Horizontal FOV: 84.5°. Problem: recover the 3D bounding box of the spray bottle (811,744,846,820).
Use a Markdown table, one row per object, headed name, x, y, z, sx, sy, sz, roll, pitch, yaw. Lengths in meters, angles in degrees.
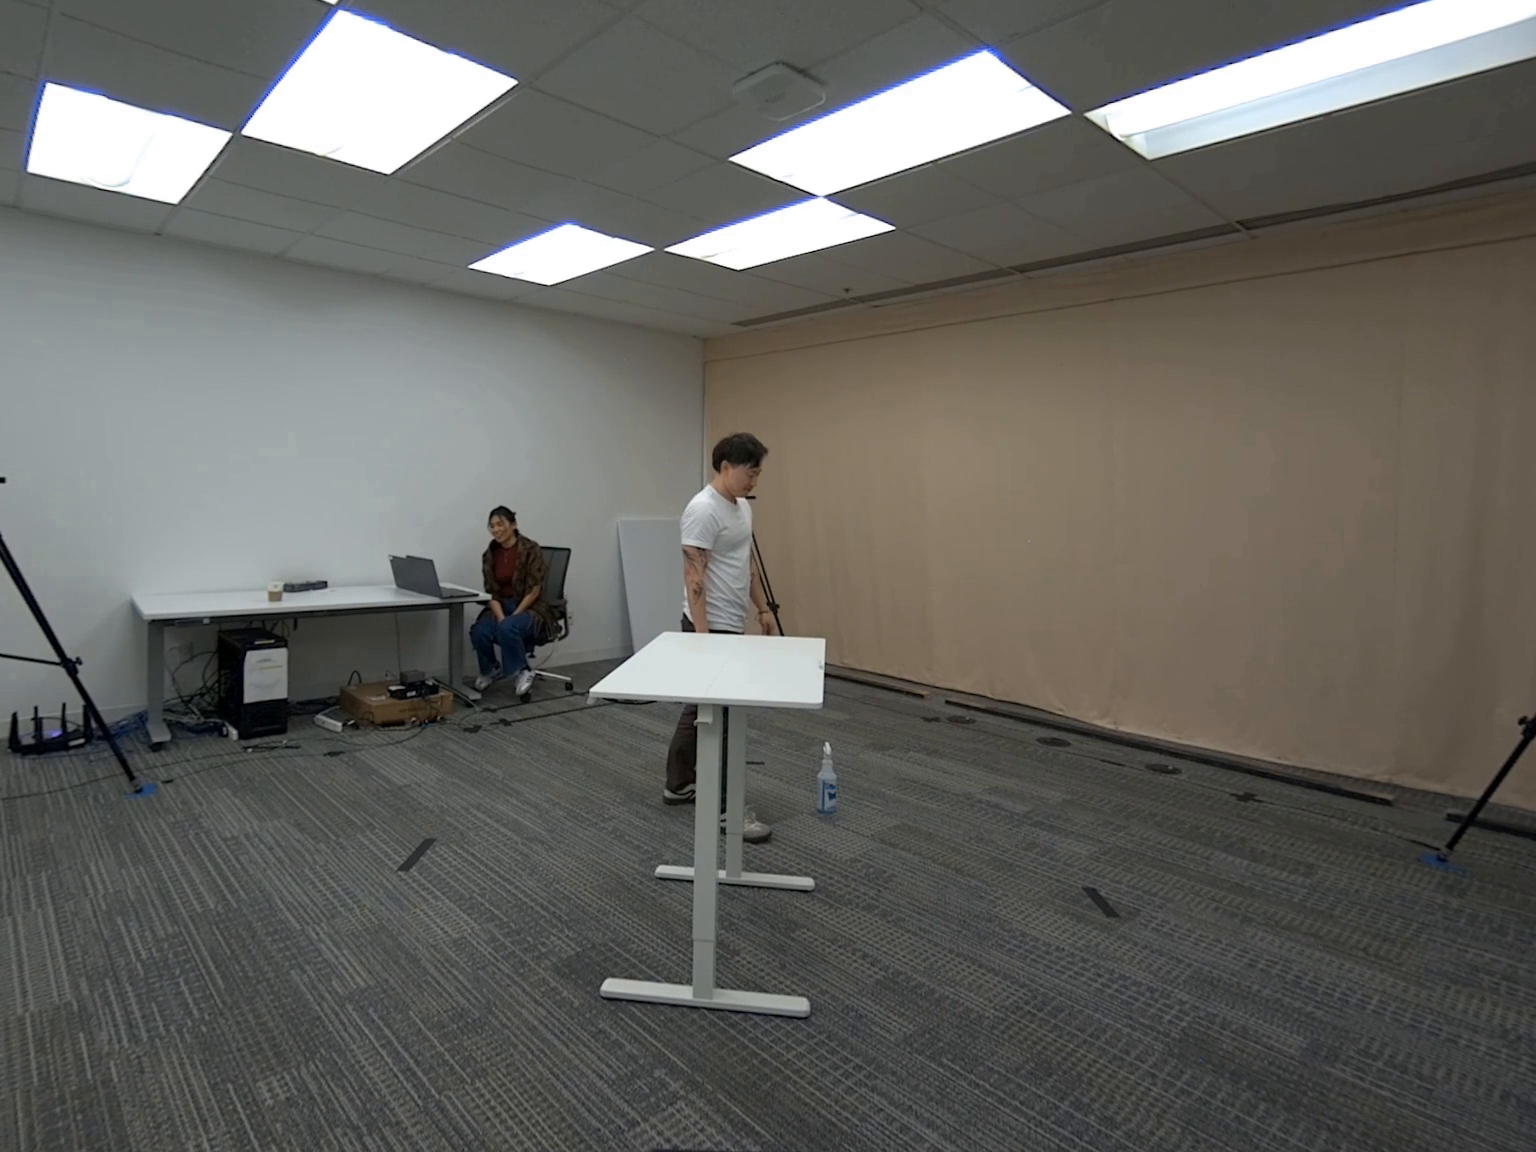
| name | x | y | z | sx | sy | sz | roll | pitch | yaw |
| --- | --- | --- | --- | --- | --- | --- | --- | --- | --- |
| spray bottle | 0.269 | 0.918 | 3.784 | 0.089 | 0.297 | 0.088 | 8 | 2 | 24 |
